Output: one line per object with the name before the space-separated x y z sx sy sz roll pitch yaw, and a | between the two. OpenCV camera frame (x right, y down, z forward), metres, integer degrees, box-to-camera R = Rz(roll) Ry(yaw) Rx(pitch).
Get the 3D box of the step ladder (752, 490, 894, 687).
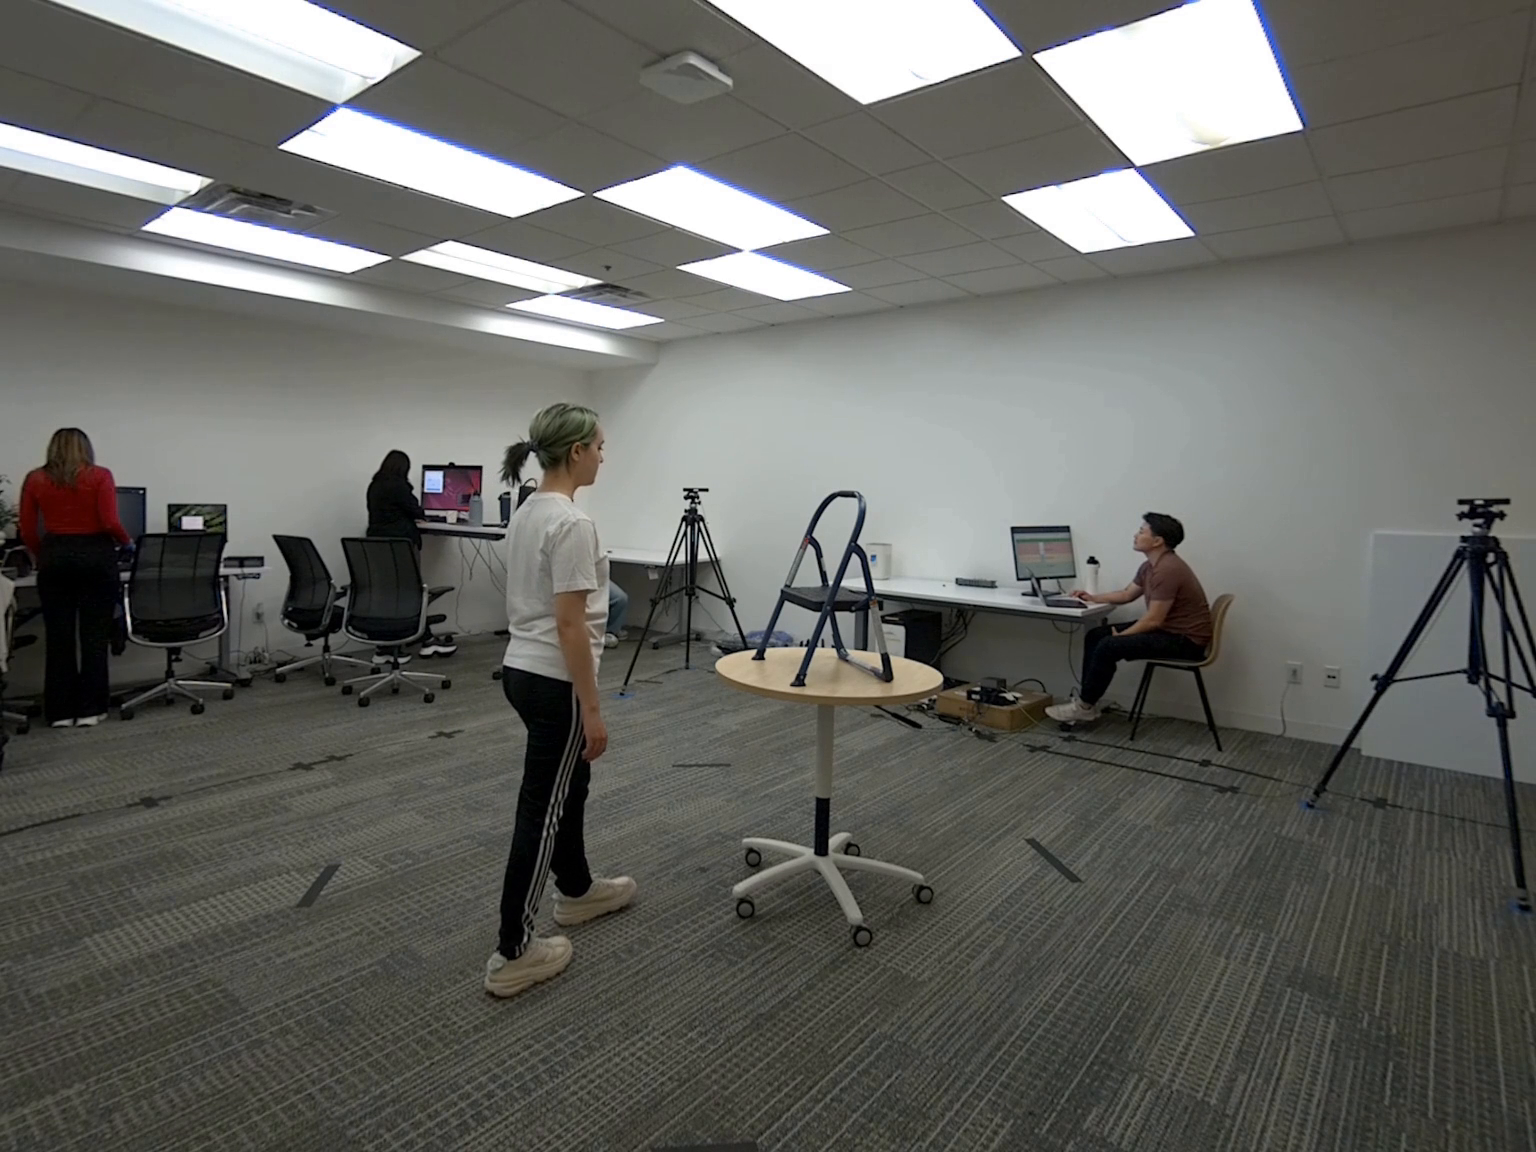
step ladder | 0.183 0.016 2.860 0.343 0.604 0.440 0 4 -18
